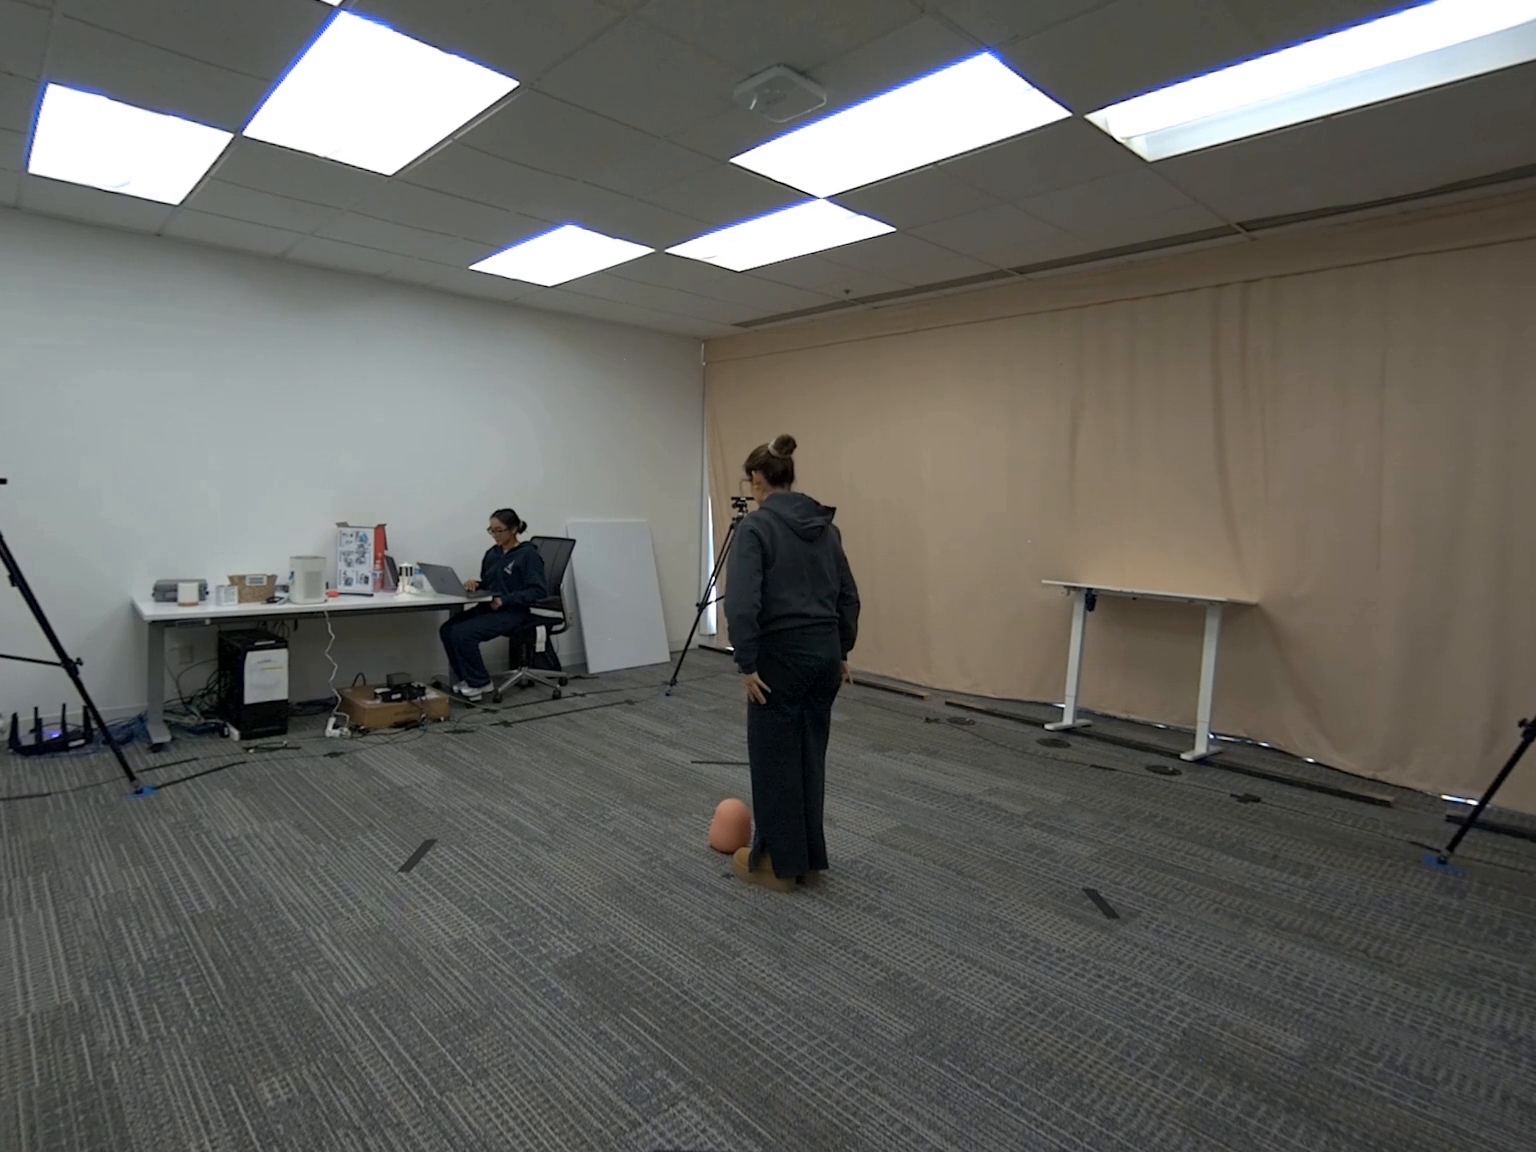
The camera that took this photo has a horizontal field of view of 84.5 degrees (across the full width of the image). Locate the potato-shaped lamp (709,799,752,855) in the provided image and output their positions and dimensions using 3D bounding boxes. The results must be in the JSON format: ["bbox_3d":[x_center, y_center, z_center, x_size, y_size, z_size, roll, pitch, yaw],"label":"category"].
[{"bbox_3d":[-0.150,1.000,3.356,0.175,0.192,0.165,4,48,37],"label":"potato-shaped lamp"}]
